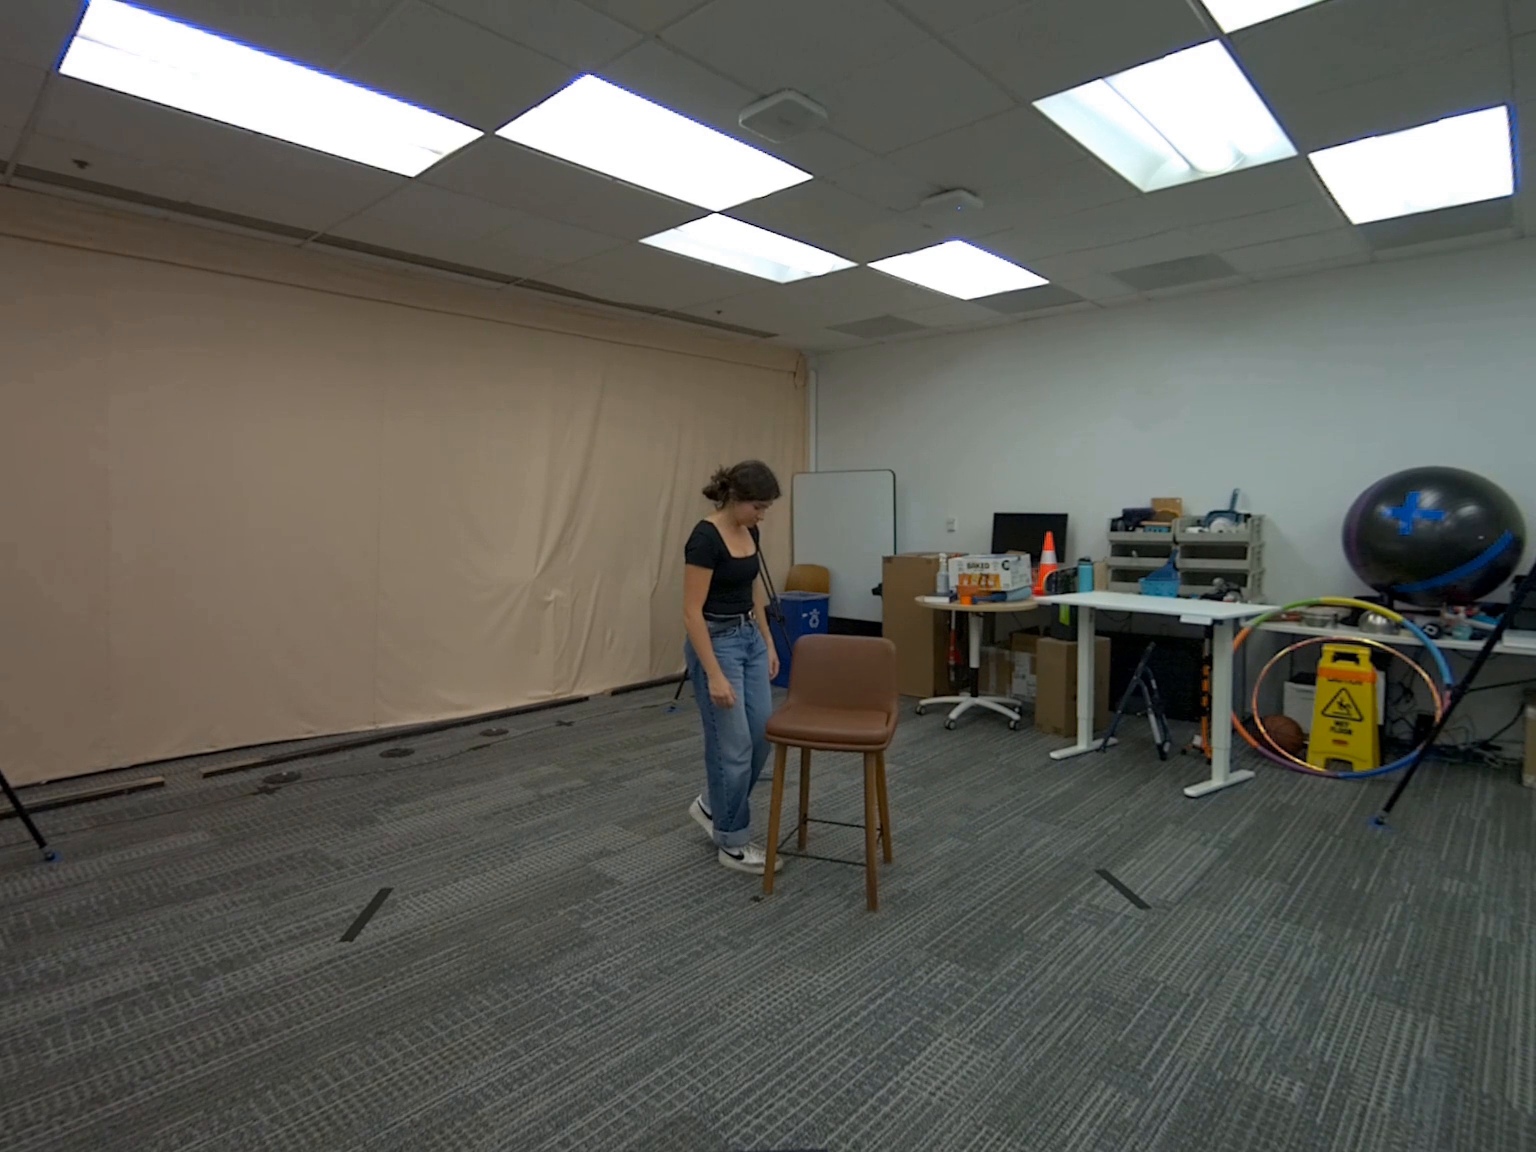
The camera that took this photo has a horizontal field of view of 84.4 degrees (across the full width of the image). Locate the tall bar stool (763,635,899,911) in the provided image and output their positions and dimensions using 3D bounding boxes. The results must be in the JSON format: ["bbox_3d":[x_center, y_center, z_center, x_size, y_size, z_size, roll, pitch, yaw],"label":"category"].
[{"bbox_3d":[0.252,0.698,3.140,0.467,0.888,0.458,2,2,20],"label":"tall bar stool"}]
